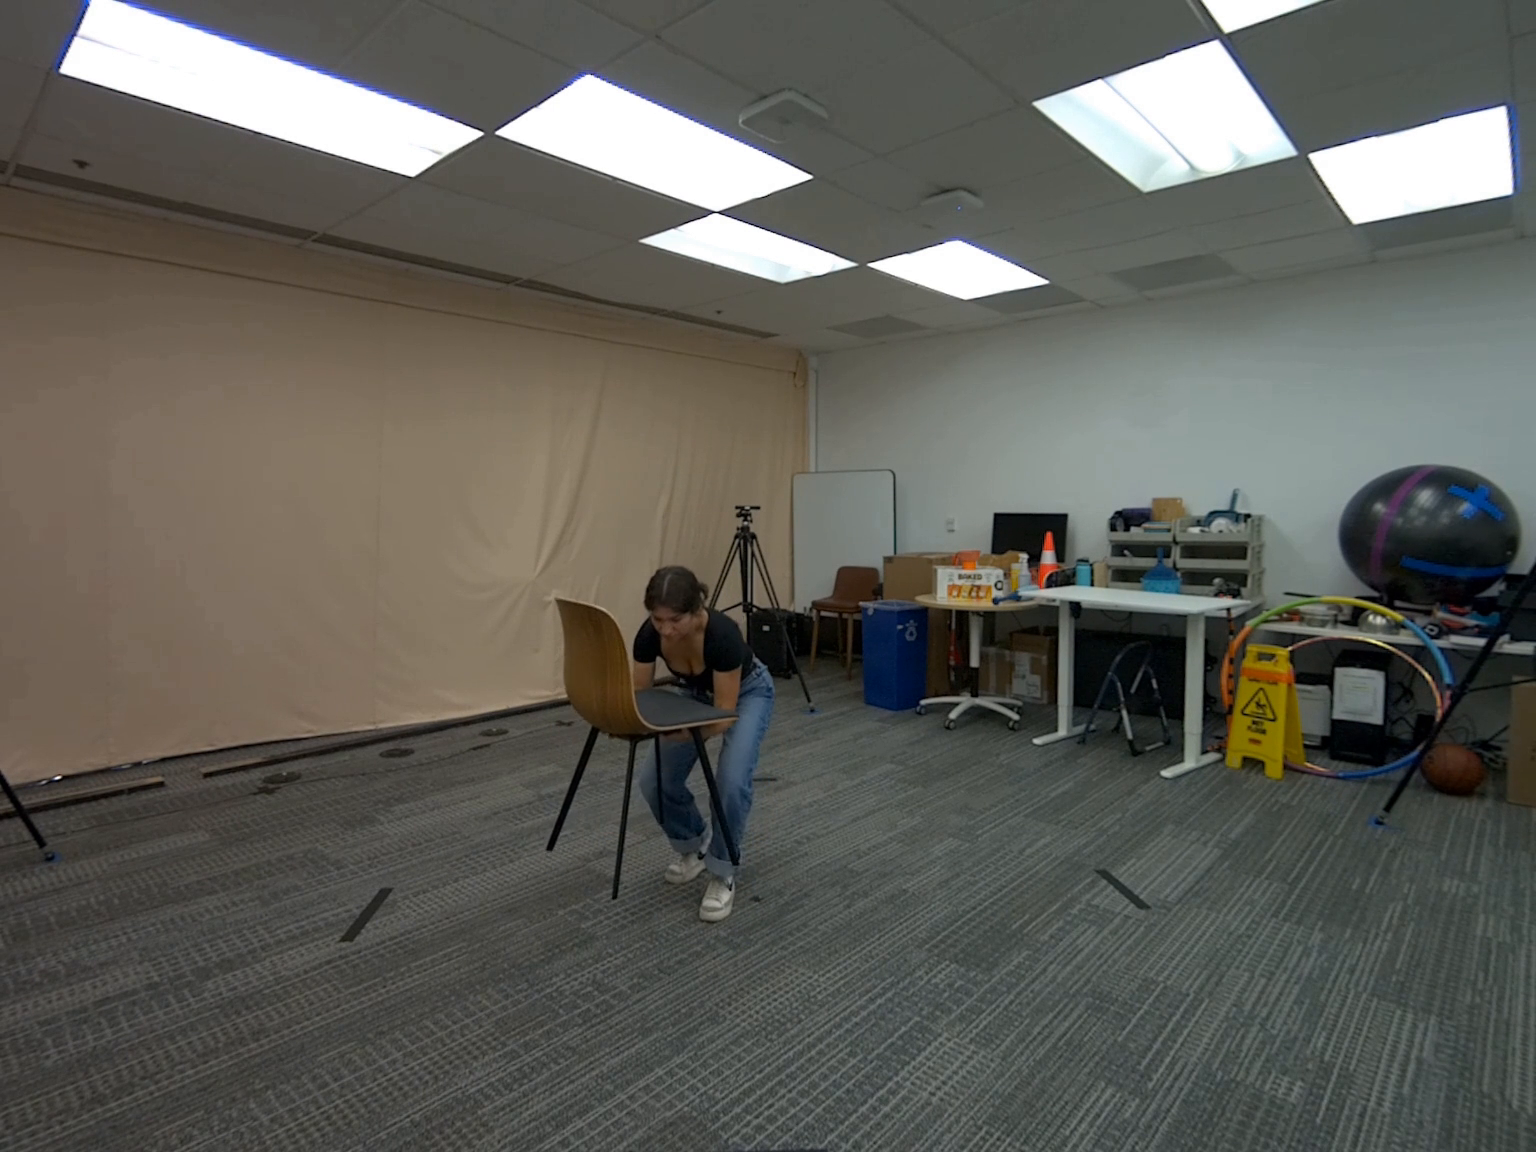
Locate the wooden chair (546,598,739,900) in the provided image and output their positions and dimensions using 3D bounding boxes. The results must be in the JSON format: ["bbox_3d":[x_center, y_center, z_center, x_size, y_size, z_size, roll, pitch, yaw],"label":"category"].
[{"bbox_3d":[-0.396,0.489,2.691,0.508,0.876,0.493,-4,4,-39],"label":"wooden chair"}]
